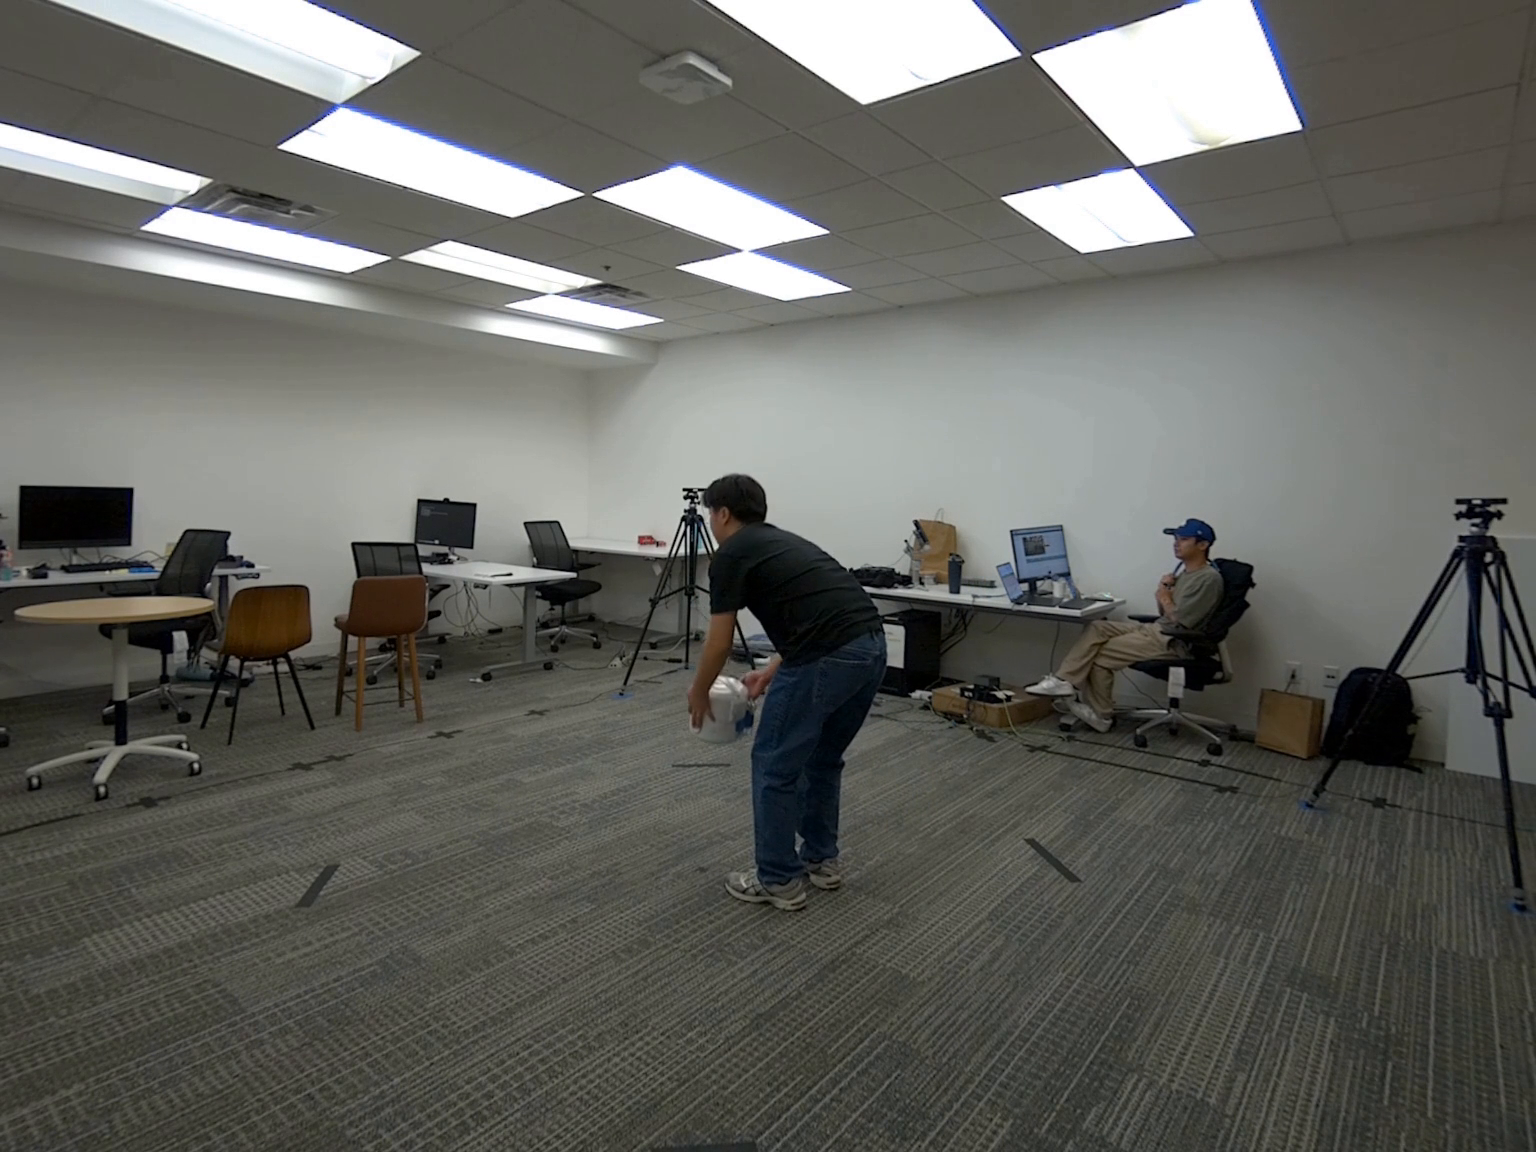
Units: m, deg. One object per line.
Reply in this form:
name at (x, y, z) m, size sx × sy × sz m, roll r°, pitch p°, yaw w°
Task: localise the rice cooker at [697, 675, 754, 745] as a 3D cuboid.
rice cooker at (-0.187, 0.484, 3.187) m, size 0.211 × 0.230 × 0.229 m, roll -6°, pitch 18°, yaw -42°
